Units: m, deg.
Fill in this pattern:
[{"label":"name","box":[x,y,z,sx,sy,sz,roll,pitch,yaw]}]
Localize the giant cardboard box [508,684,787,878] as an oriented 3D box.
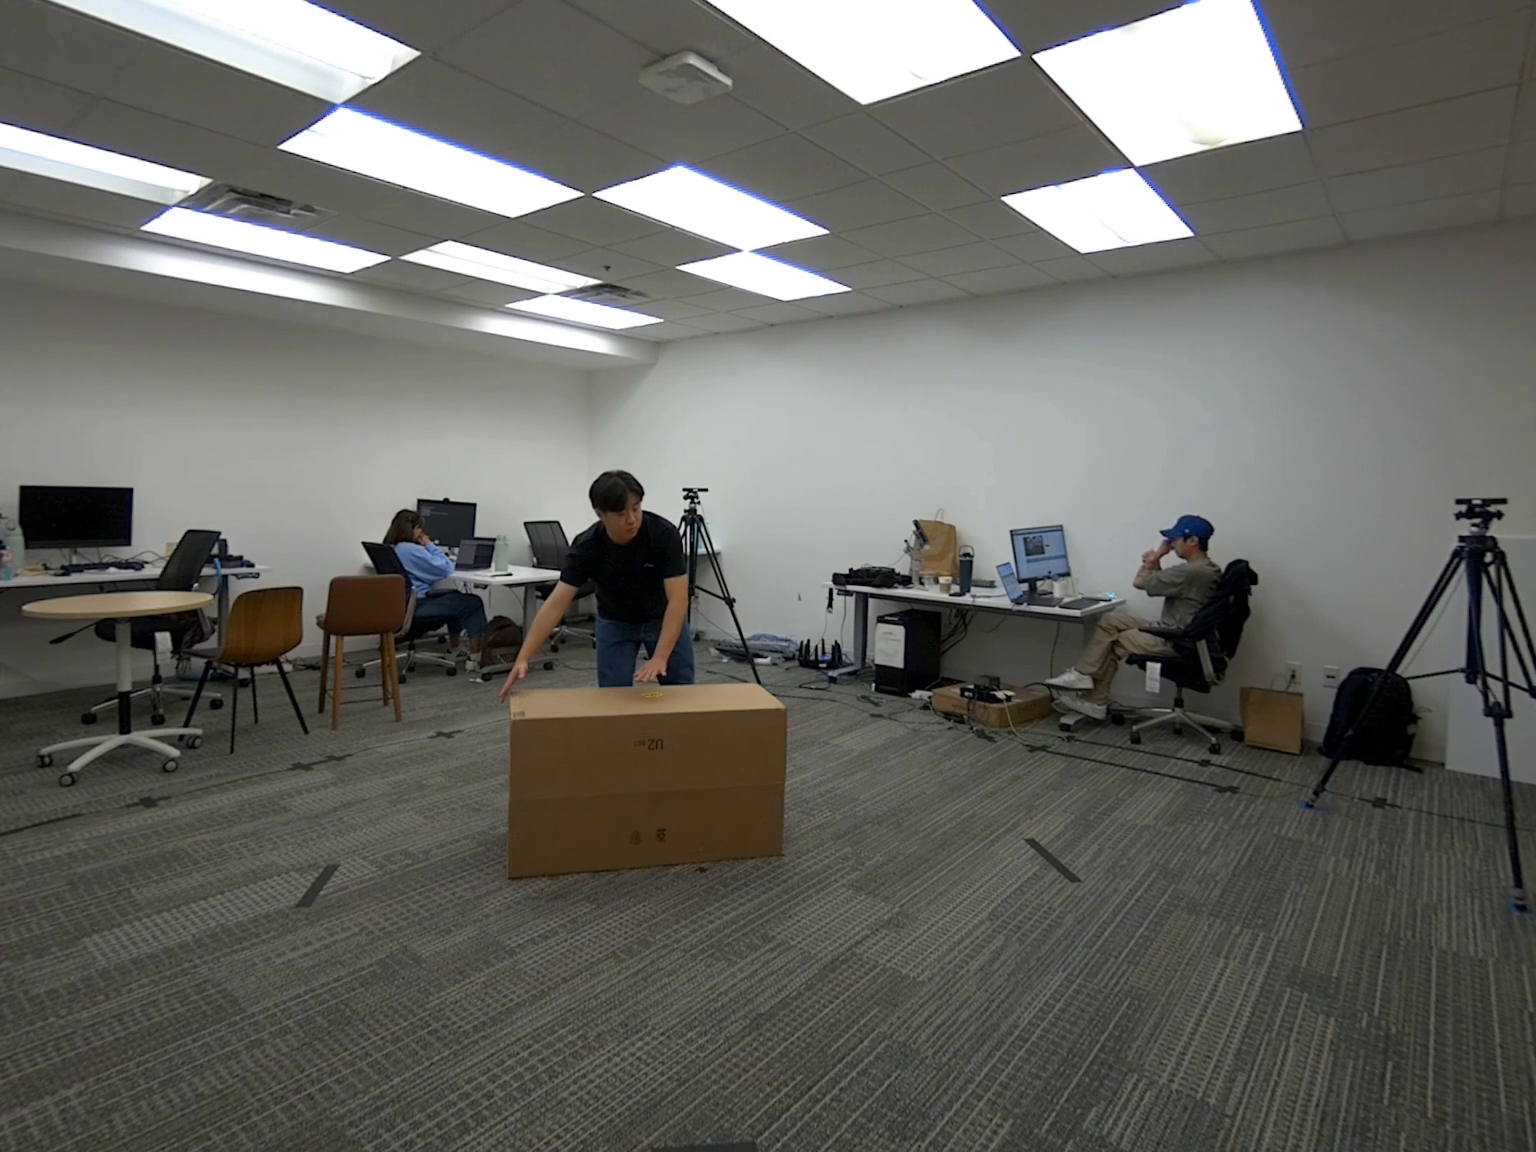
[{"label":"giant cardboard box","box":[-0.491,0.758,3.306,1.011,0.583,0.455,0,3,-15]}]
